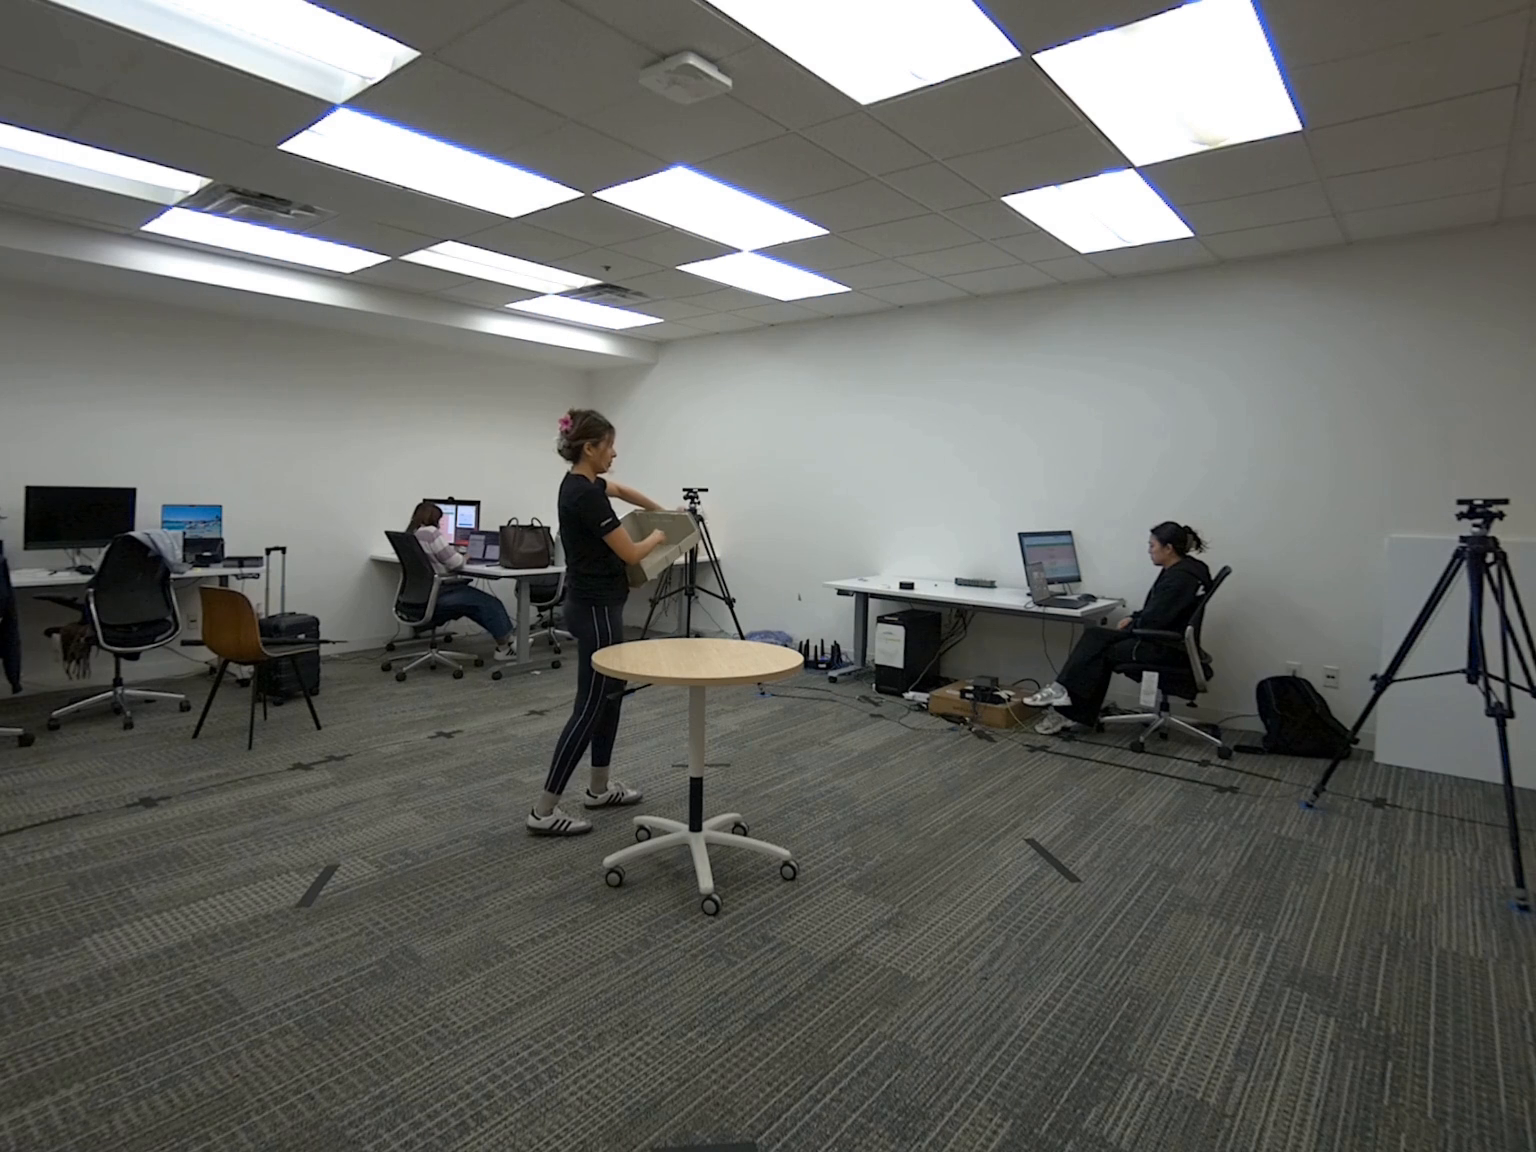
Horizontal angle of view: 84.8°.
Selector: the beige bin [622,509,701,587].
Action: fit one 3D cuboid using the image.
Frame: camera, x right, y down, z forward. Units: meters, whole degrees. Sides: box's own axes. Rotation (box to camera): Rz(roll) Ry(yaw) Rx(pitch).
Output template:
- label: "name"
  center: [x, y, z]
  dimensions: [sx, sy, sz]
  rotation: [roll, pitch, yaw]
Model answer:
- label: "beige bin"
  center: [-0.587, -0.132, 3.842]
  dimensions: [0.389, 0.184, 0.420]
  rotation: [3, 29, 34]
